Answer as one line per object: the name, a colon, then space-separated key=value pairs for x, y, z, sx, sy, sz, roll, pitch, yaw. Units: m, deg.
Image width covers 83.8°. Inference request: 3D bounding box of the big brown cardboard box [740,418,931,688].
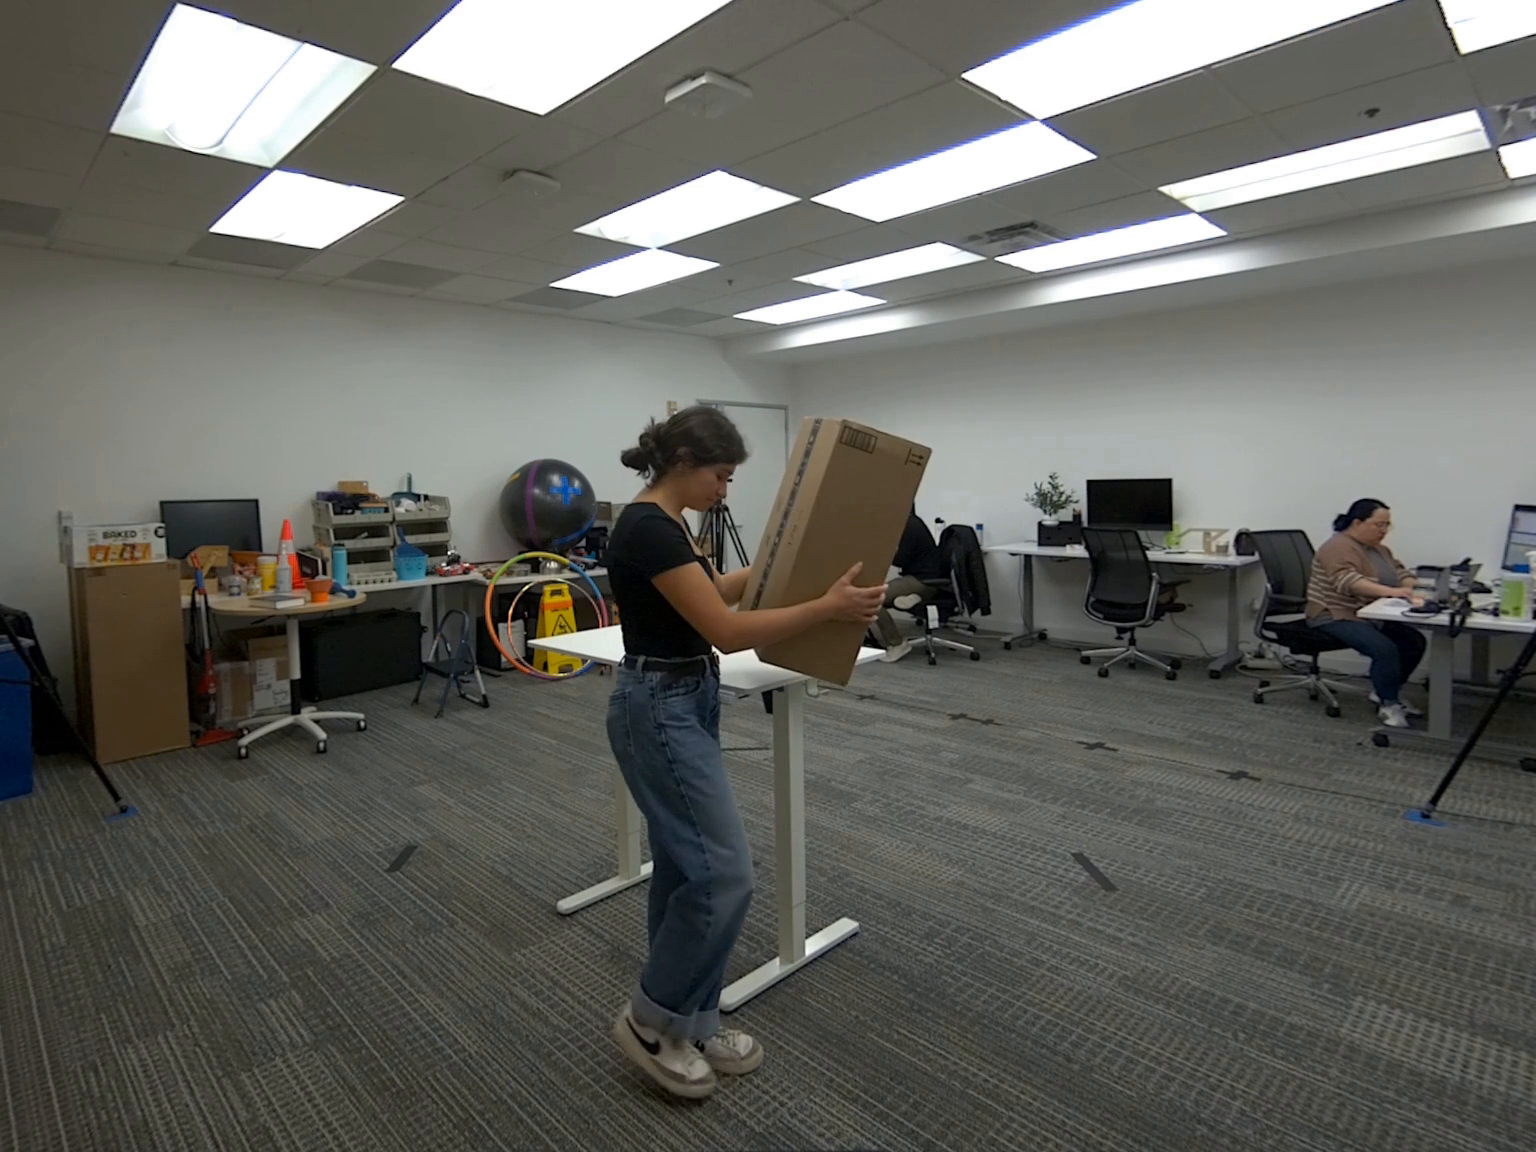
big brown cardboard box: x=0.141 y=-0.091 z=2.070 sx=0.231 sy=0.587 sz=0.424 roll=18 pitch=7 yaw=-10
